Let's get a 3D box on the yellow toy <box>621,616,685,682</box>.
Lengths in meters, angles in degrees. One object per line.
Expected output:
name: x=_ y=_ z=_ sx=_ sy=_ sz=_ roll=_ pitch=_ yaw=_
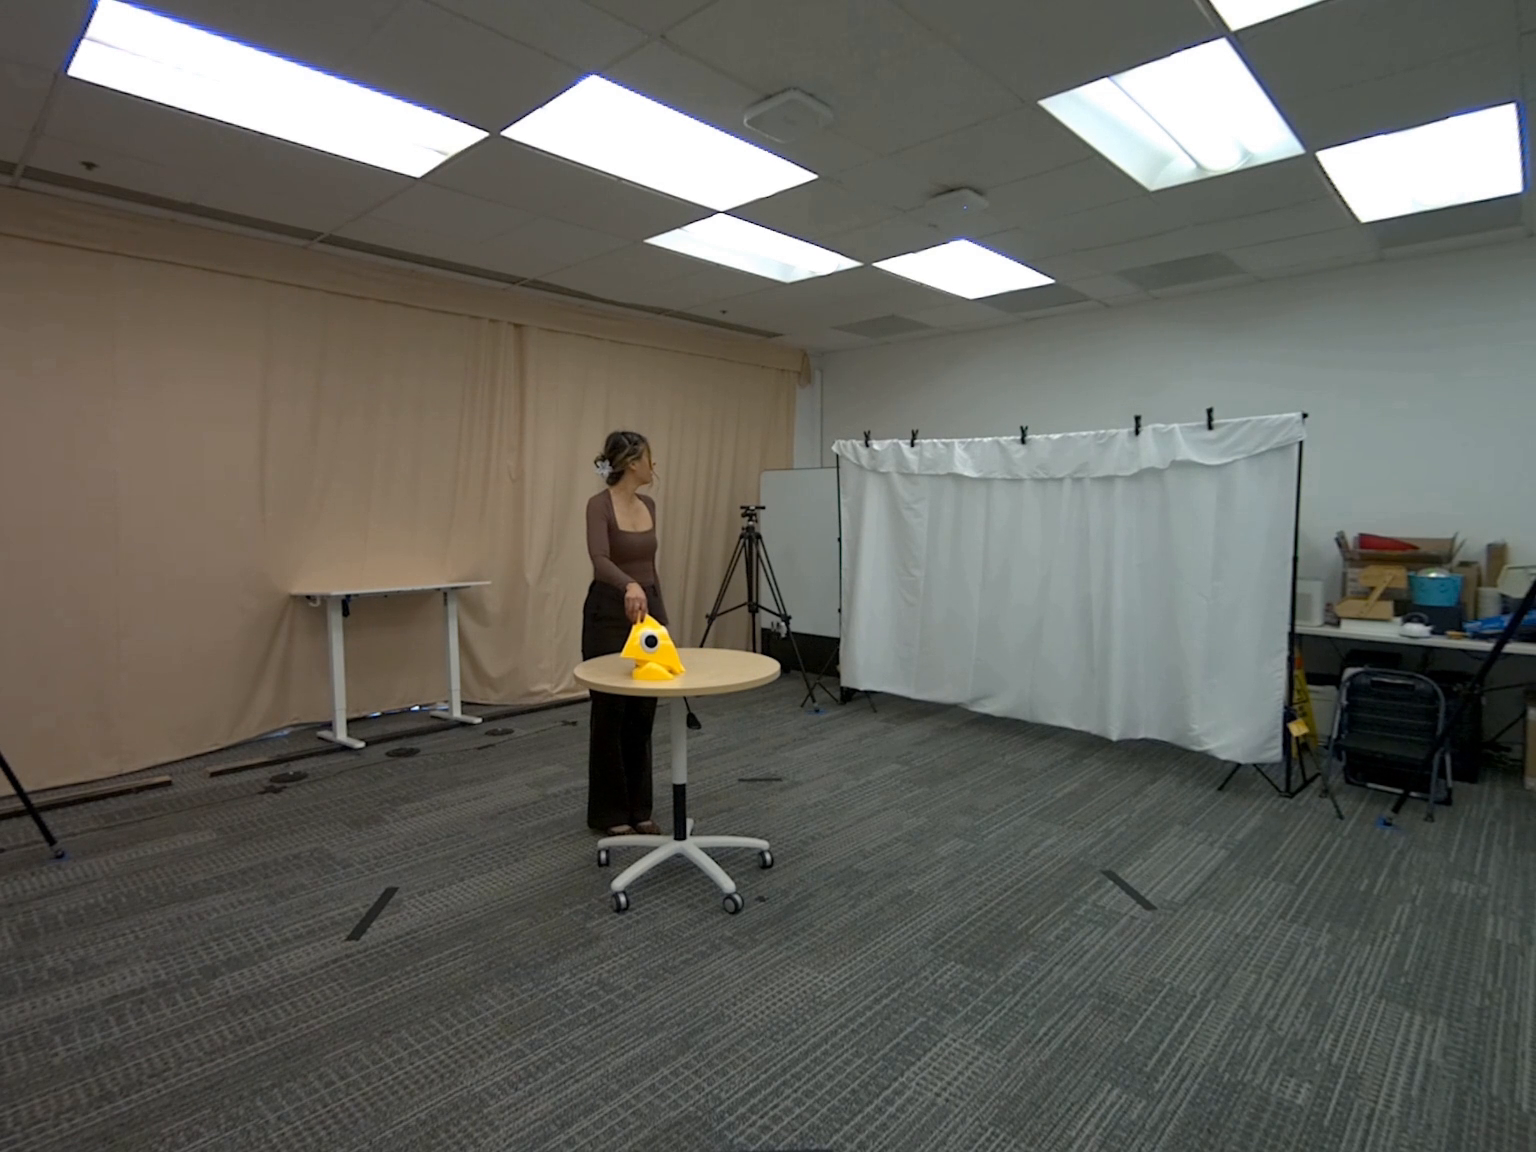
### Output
yellow toy: x=-0.406 y=0.237 z=2.984 sx=0.196 sy=0.230 sz=0.202 roll=-1 pitch=5 yaw=15
